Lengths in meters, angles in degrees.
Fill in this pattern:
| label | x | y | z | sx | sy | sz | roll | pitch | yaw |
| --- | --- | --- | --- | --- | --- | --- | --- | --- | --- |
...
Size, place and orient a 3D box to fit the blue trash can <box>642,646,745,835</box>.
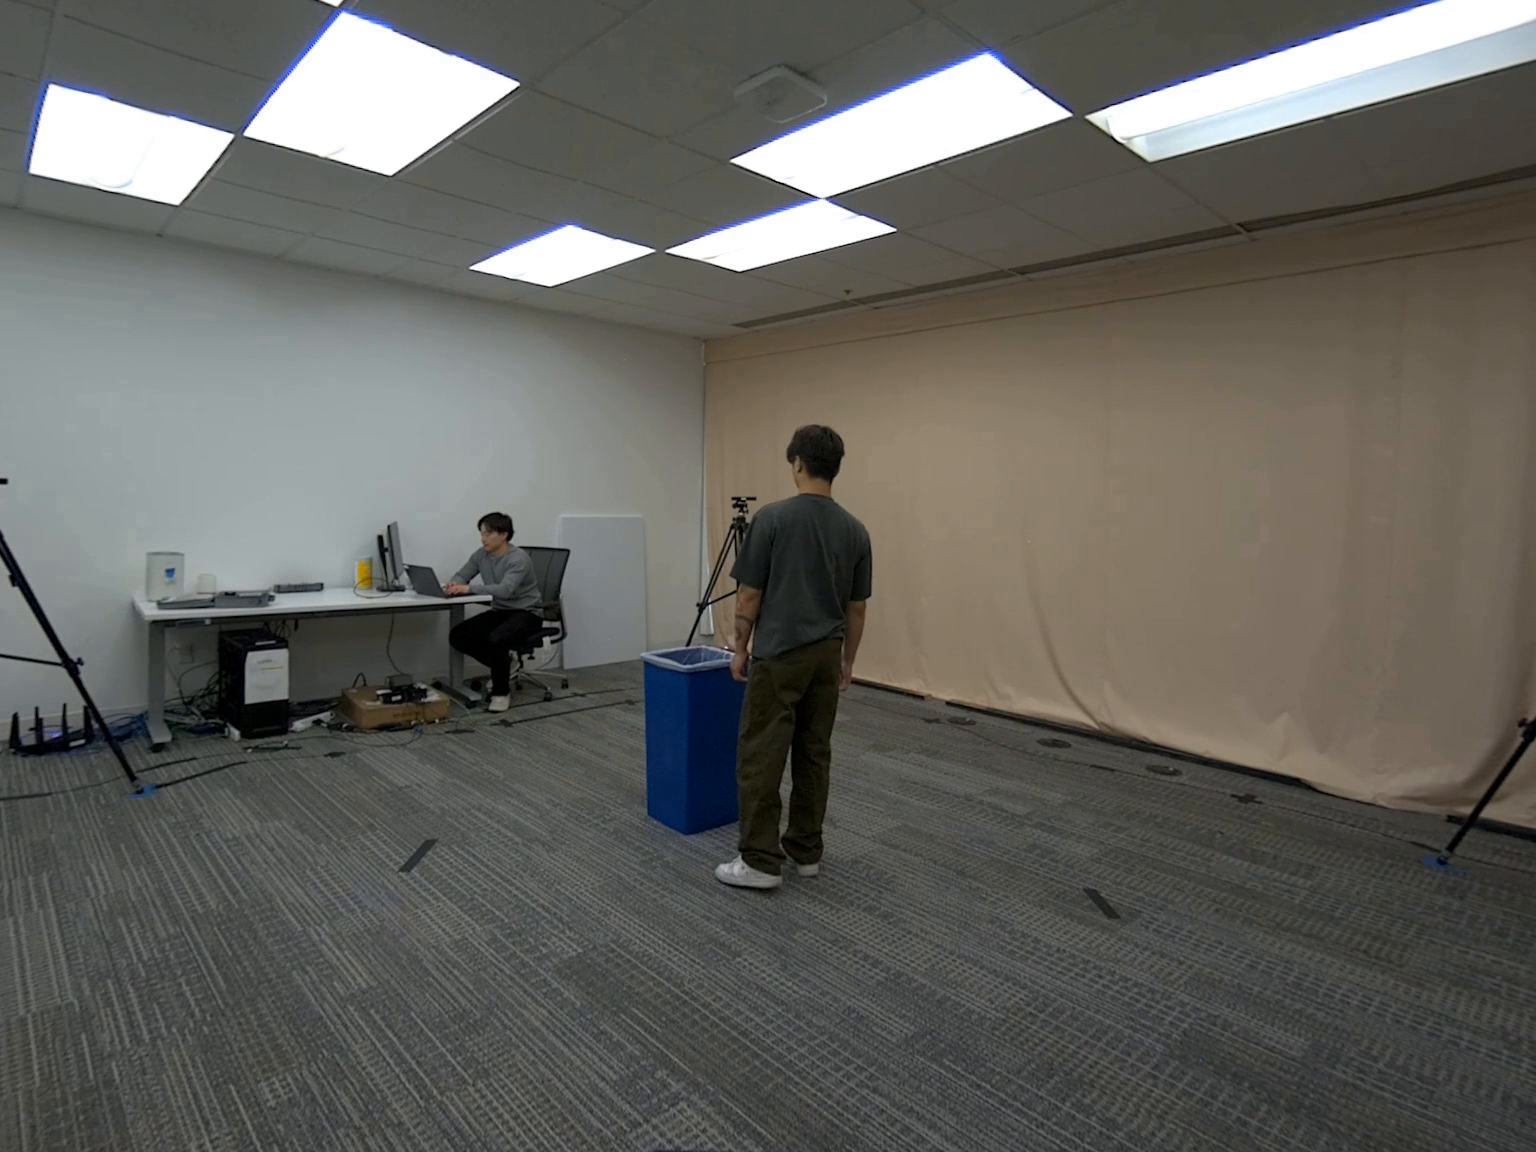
| label | x | y | z | sx | sy | sz | roll | pitch | yaw |
| --- | --- | --- | --- | --- | --- | --- | --- | --- | --- |
| blue trash can | -0.327 | 0.696 | 3.650 | 0.365 | 0.712 | 0.387 | -1 | 4 | -41 |
